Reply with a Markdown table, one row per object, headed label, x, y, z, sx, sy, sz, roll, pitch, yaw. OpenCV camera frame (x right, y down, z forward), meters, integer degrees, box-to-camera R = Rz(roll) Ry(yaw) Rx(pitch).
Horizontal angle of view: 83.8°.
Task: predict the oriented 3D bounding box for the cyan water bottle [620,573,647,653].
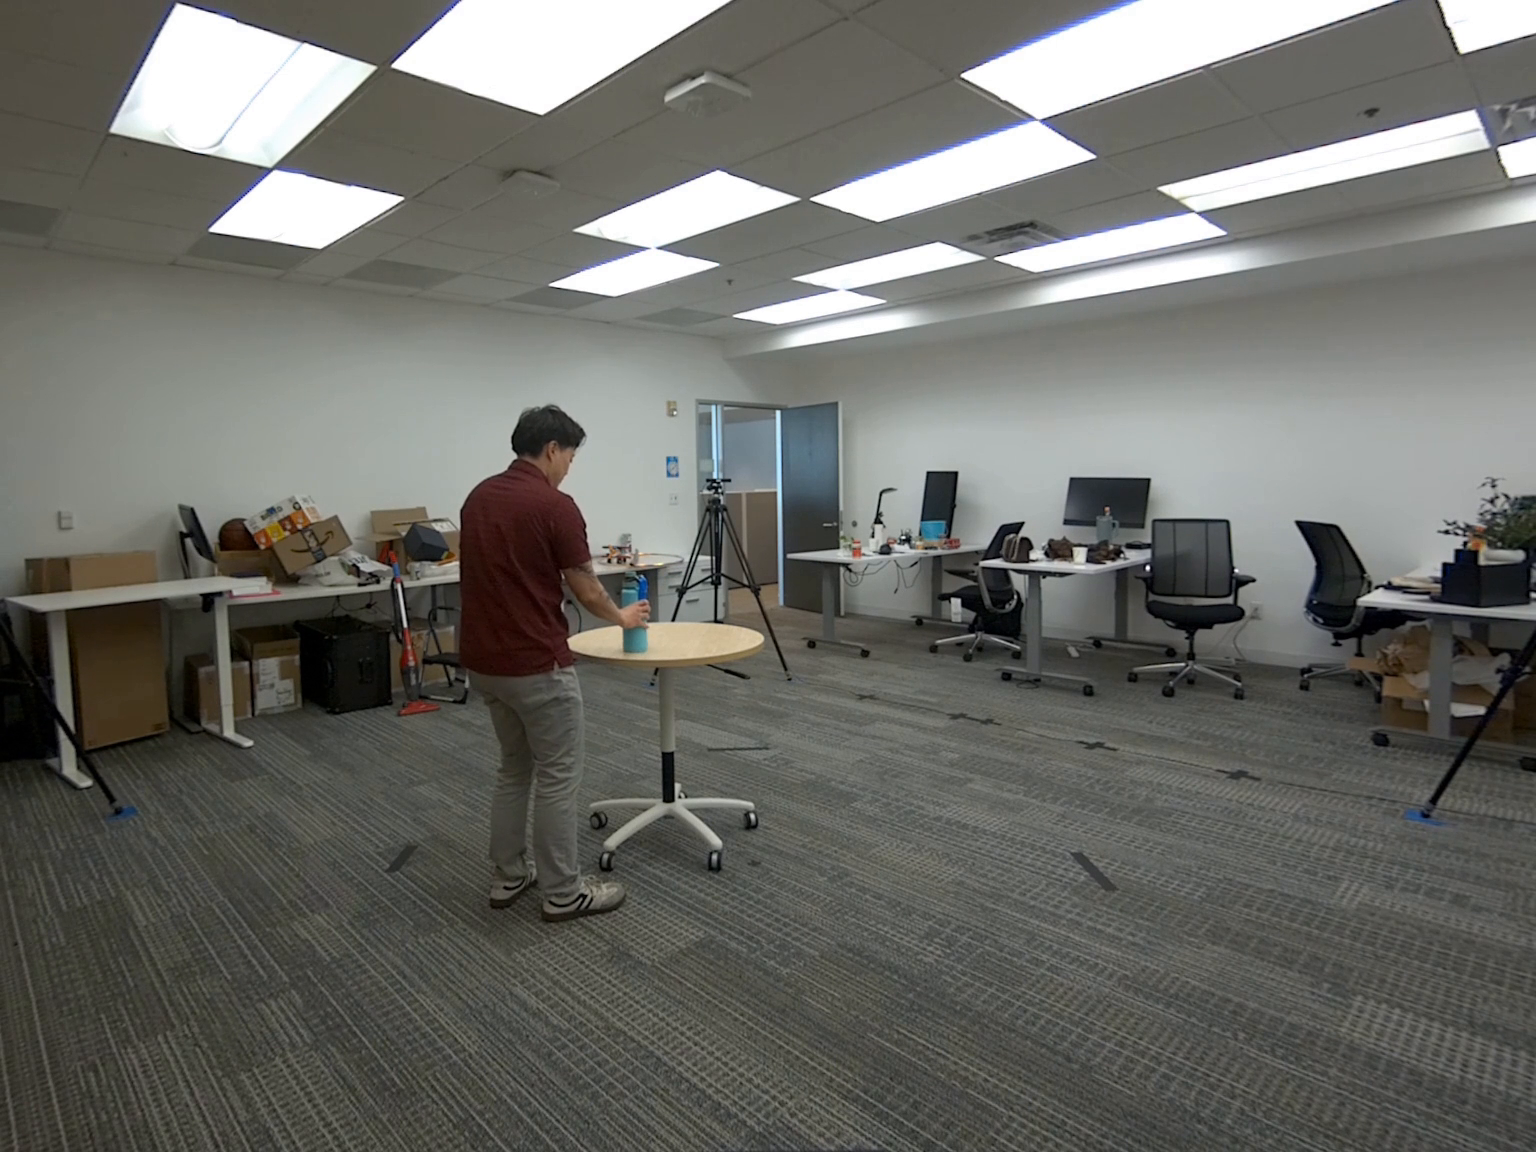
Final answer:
| label | x | y | z | sx | sy | sz | roll | pitch | yaw |
| --- | --- | --- | --- | --- | --- | --- | --- | --- | --- |
| cyan water bottle | -0.483 | 0.128 | 3.092 | 0.092 | 0.283 | 0.092 | 1 | 3 | -2 |
